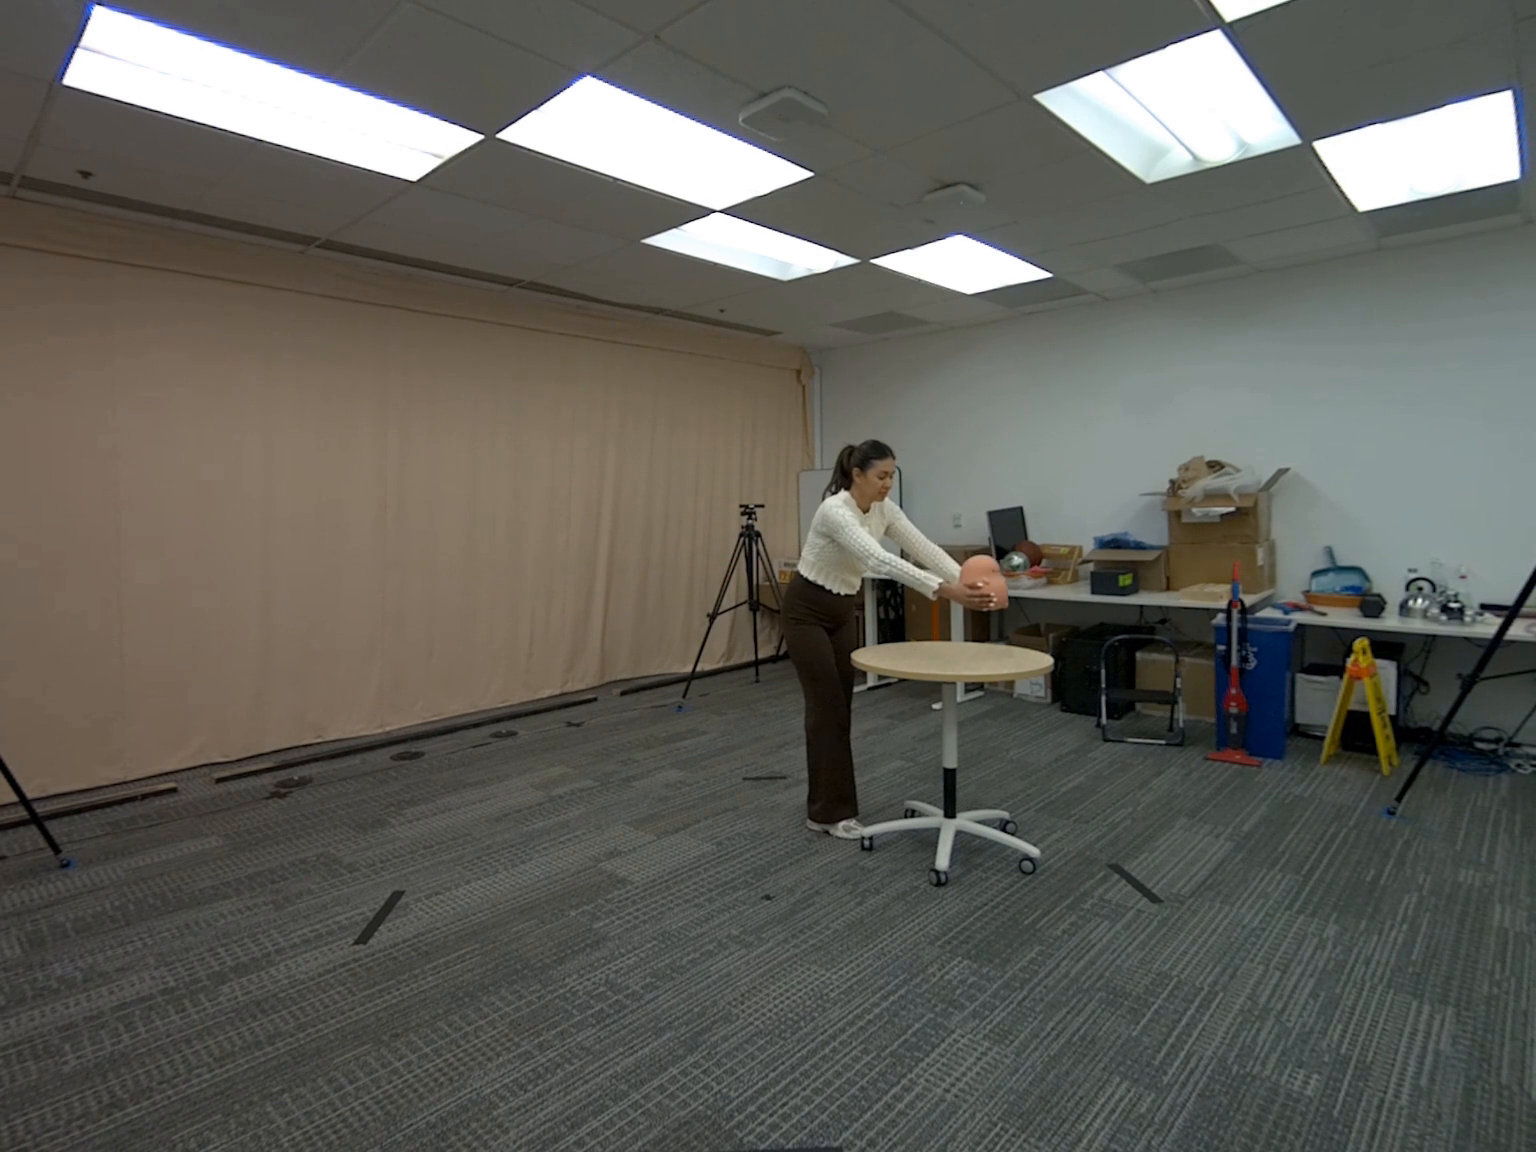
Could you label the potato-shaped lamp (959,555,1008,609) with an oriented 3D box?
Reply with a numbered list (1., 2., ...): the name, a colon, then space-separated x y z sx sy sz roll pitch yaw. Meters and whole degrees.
1. potato-shaped lamp: 0.791 0.023 3.084 0.160 0.198 0.177 -2 0 -39
